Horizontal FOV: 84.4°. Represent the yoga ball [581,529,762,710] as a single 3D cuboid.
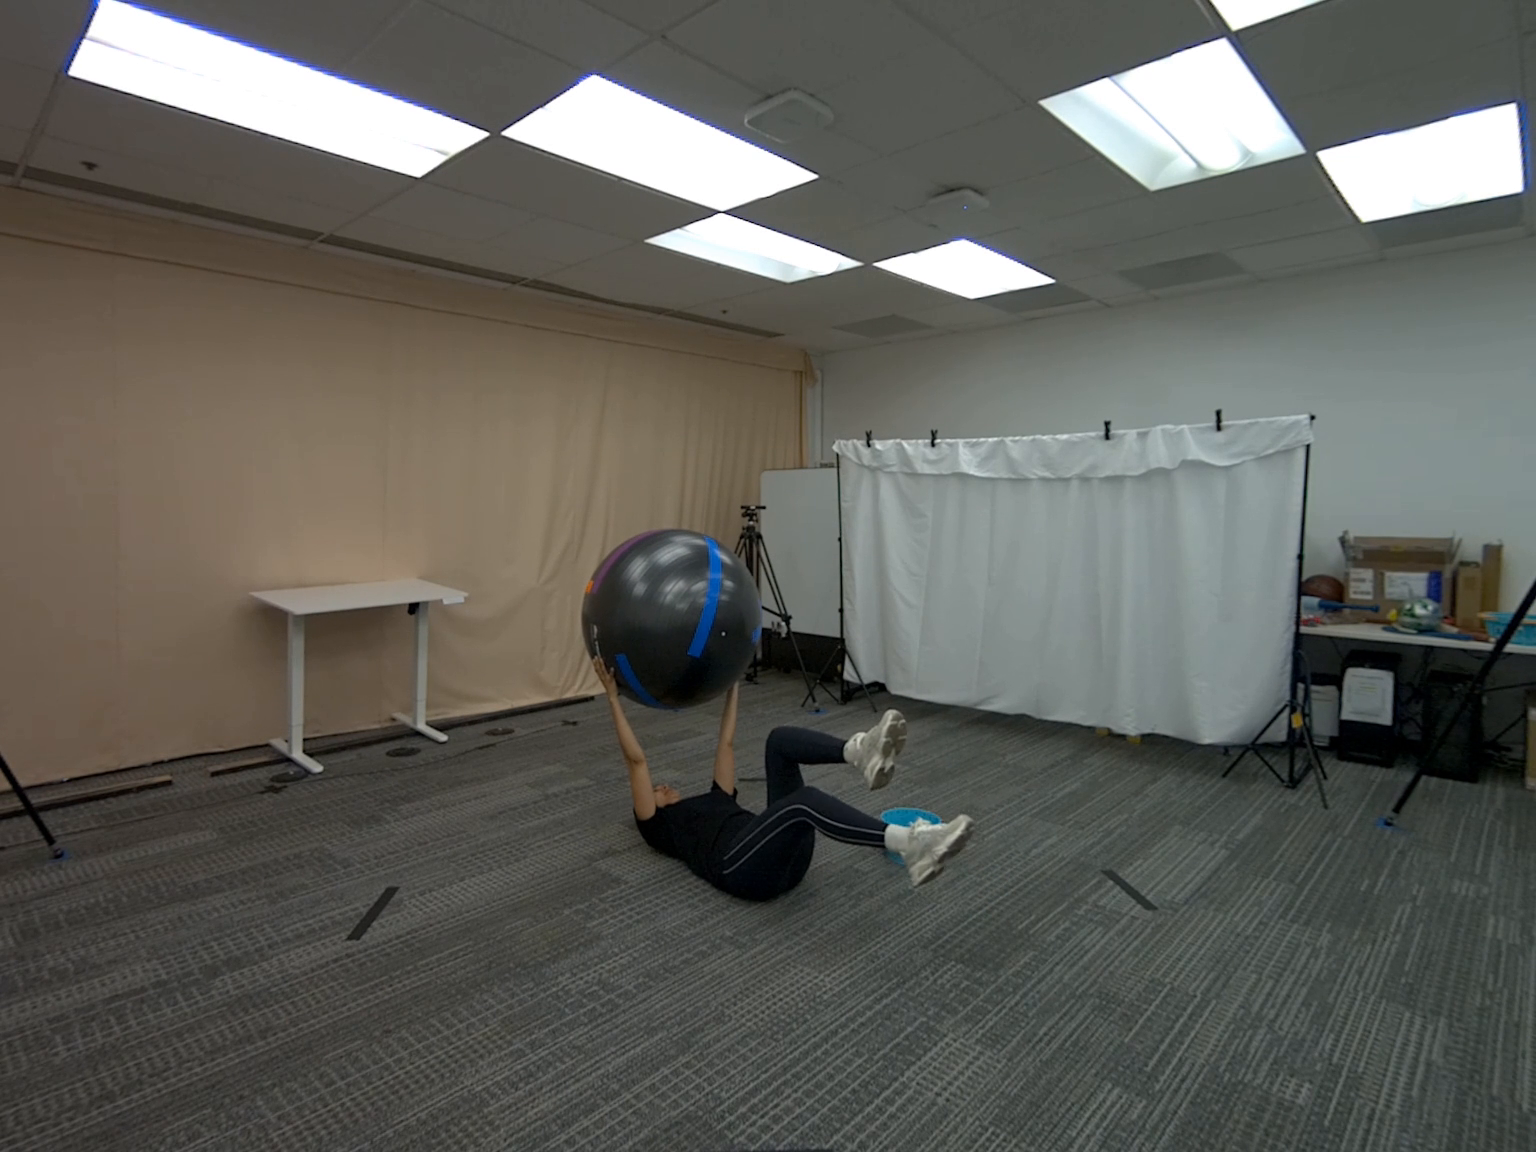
[{"bbox_3d":[-0.403,0.180,3.545,0.757,0.756,0.761,3,5,-2],"label":"yoga ball"}]
